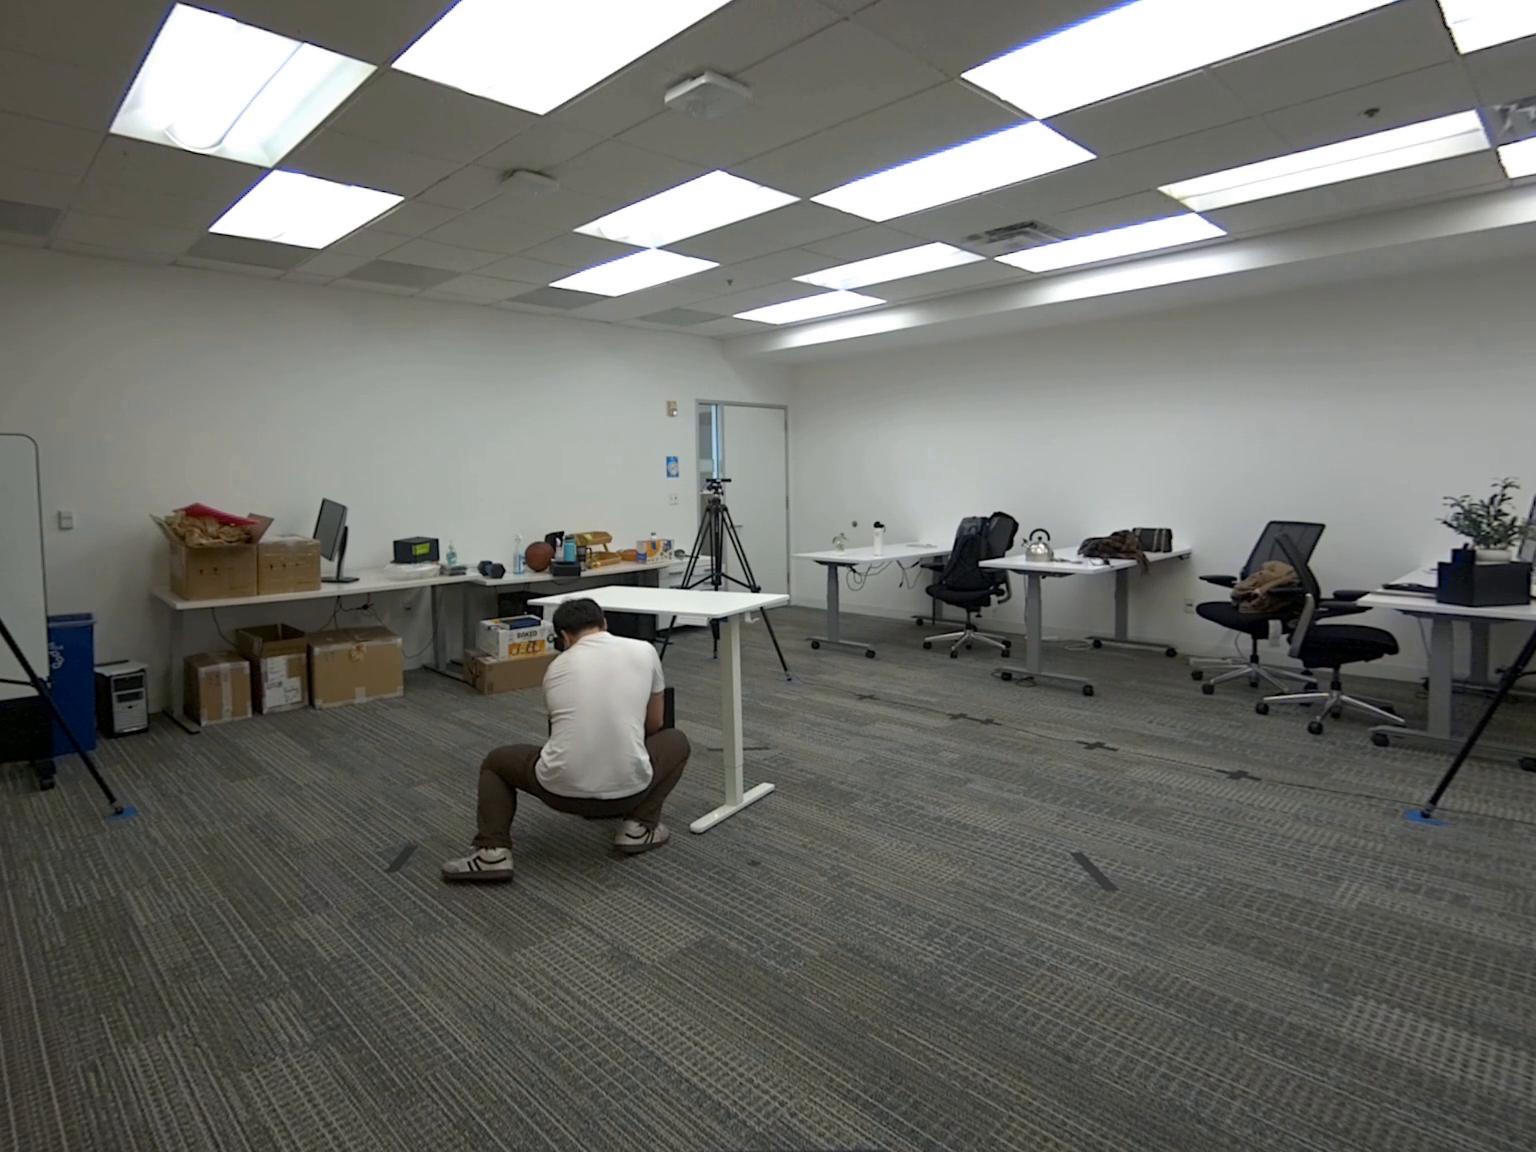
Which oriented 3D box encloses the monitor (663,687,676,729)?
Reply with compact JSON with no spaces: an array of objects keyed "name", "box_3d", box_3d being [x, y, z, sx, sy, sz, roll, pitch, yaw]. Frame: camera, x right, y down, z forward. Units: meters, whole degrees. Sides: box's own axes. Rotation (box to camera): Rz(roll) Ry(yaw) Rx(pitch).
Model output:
[{"name":"monitor","box_3d":[-0.652,0.743,3.626,0.534,0.521,0.189,-1,2,-9]}]
